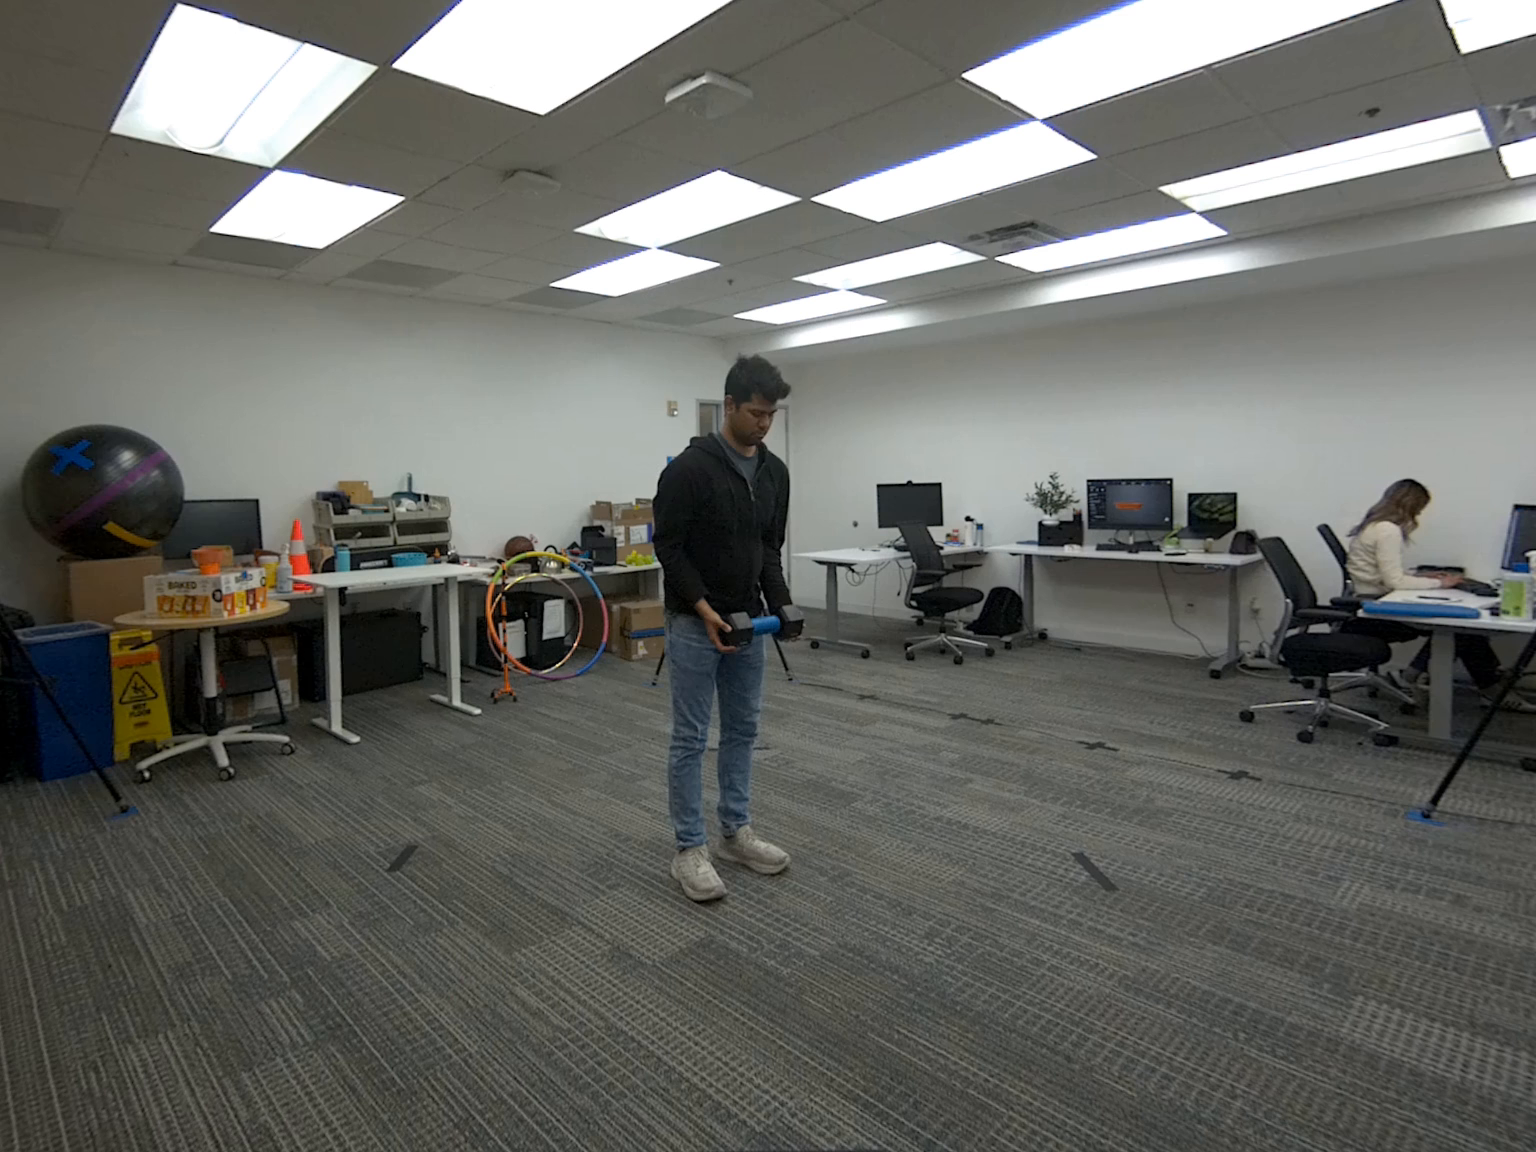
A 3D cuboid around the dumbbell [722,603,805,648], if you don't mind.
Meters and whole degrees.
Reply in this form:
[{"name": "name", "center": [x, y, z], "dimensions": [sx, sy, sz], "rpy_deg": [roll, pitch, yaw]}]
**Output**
[{"name": "dumbbell", "center": [-0.029, 0.176, 2.863], "dimensions": [0.286, 0.121, 0.113], "rpy_deg": [-6, 23, -34]}]
